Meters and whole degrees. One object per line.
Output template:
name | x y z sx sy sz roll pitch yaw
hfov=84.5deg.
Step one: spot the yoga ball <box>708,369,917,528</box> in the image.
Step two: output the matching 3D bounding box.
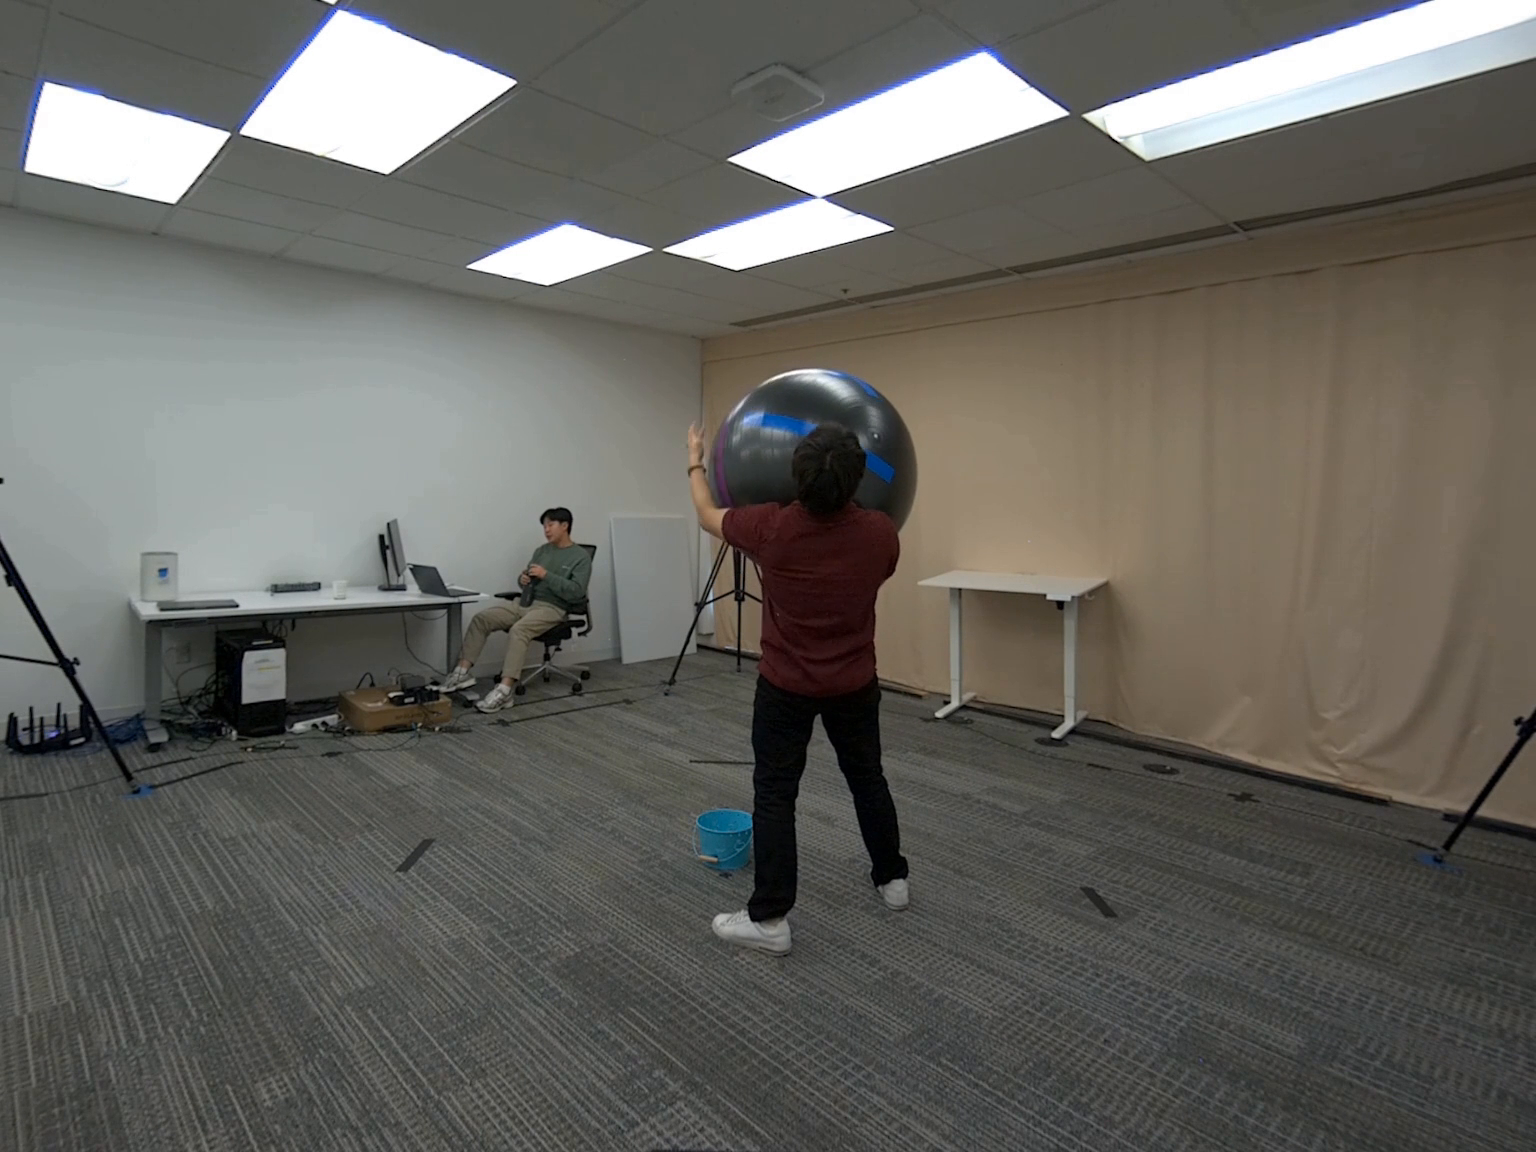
yoga ball | 0.152 -0.365 3.068 0.757 0.756 0.761 1 4 -1
